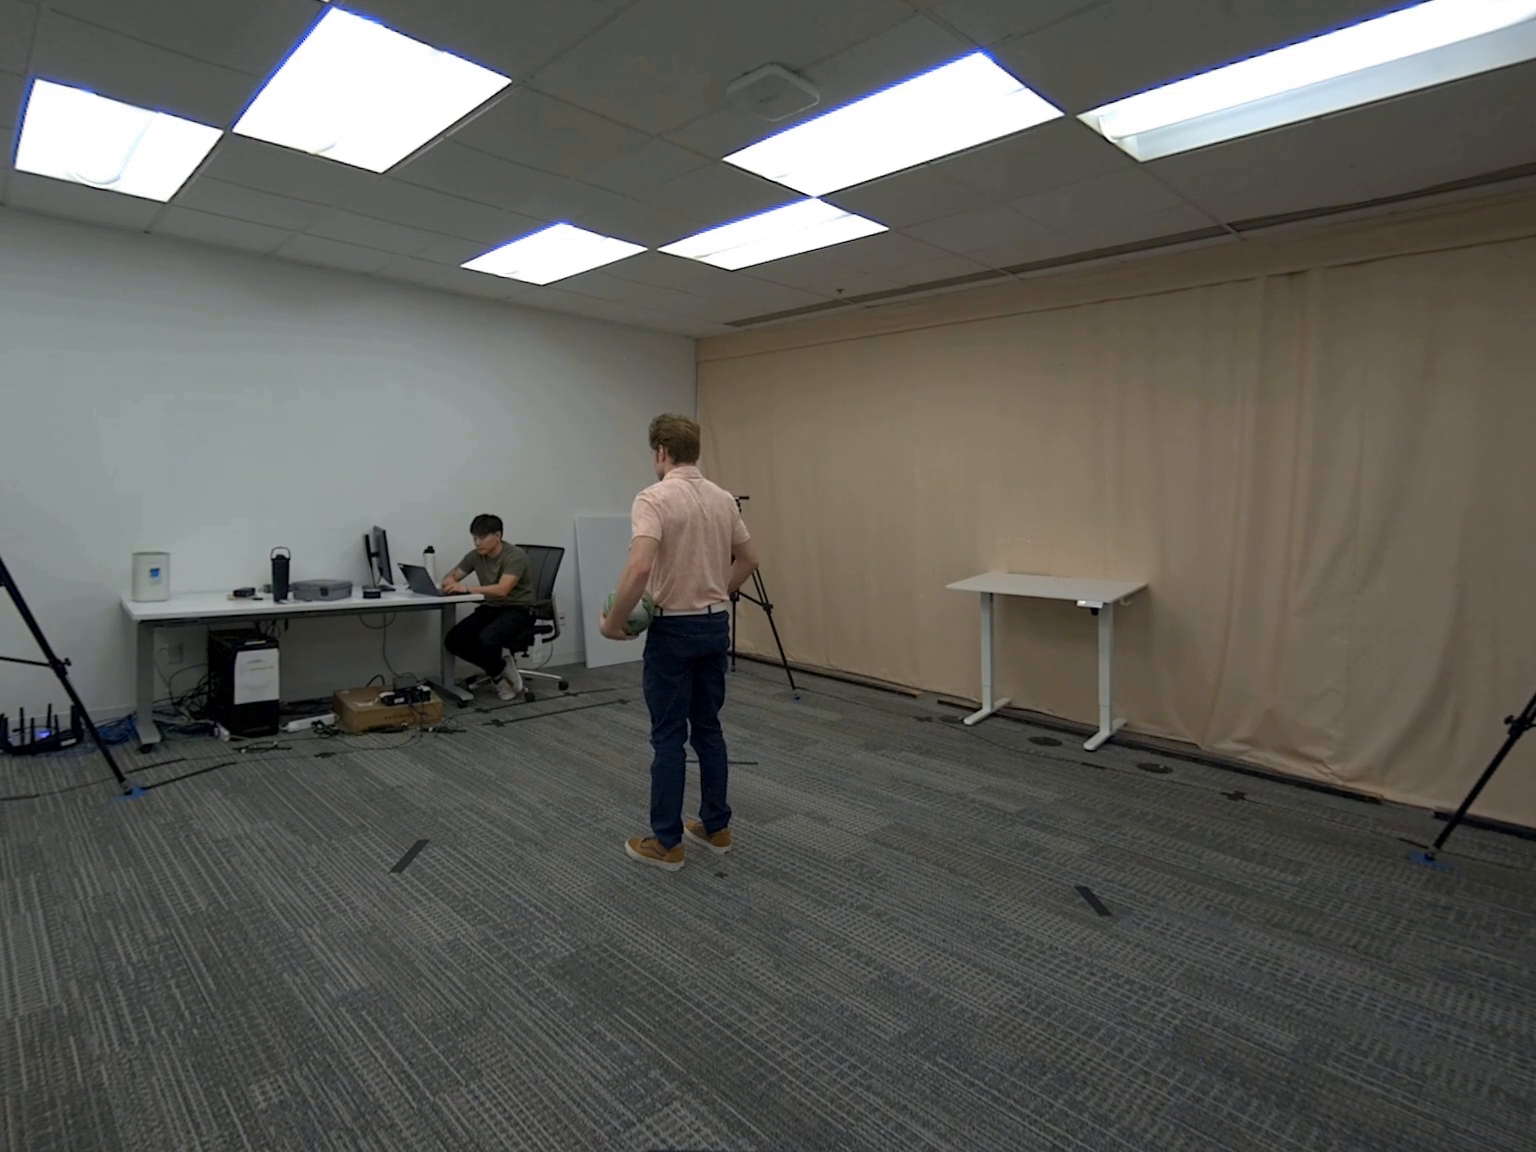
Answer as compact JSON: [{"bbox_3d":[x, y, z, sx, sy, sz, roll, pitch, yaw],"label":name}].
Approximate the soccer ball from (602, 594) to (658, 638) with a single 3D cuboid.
[{"bbox_3d":[-0.513,0.127,3.087,0.187,0.187,0.188,1,4,-1],"label":"soccer ball"}]
